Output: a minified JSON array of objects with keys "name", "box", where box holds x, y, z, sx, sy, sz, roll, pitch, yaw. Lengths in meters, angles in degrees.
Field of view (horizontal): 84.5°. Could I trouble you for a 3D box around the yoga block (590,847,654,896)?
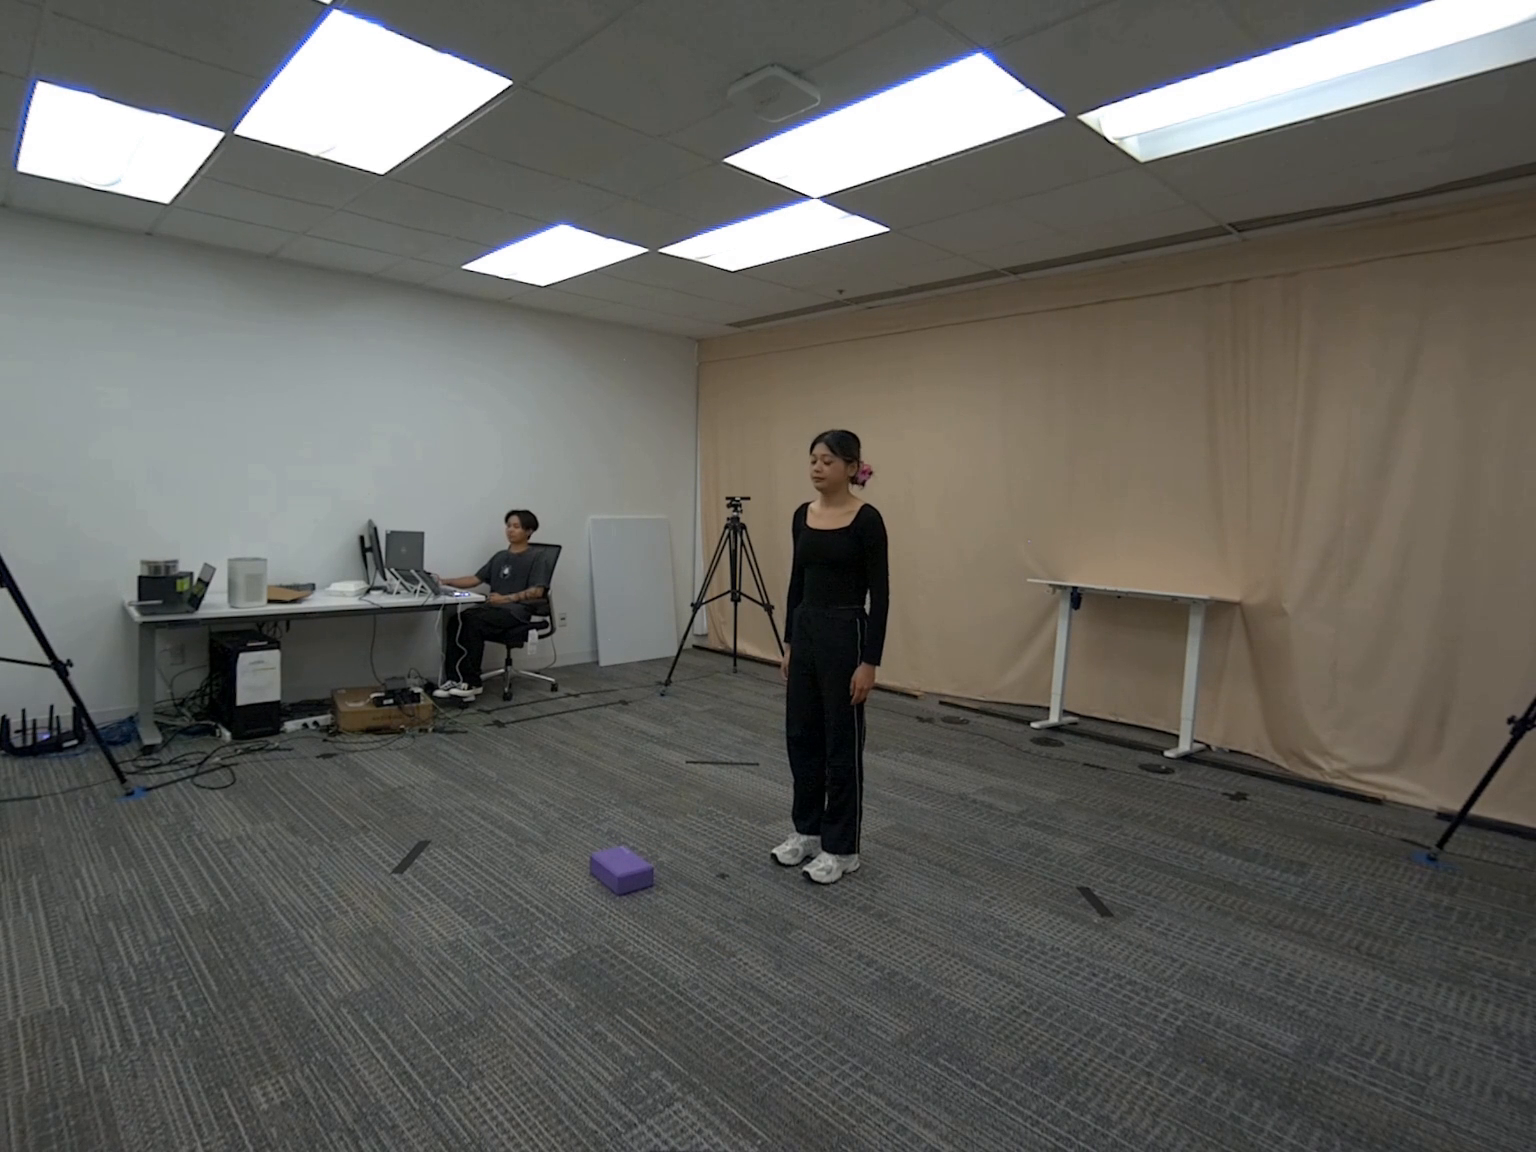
[{"name":"yoga block","box":[-0.541,1.066,3.048,0.146,0.076,0.235,-3,6,-37]}]
